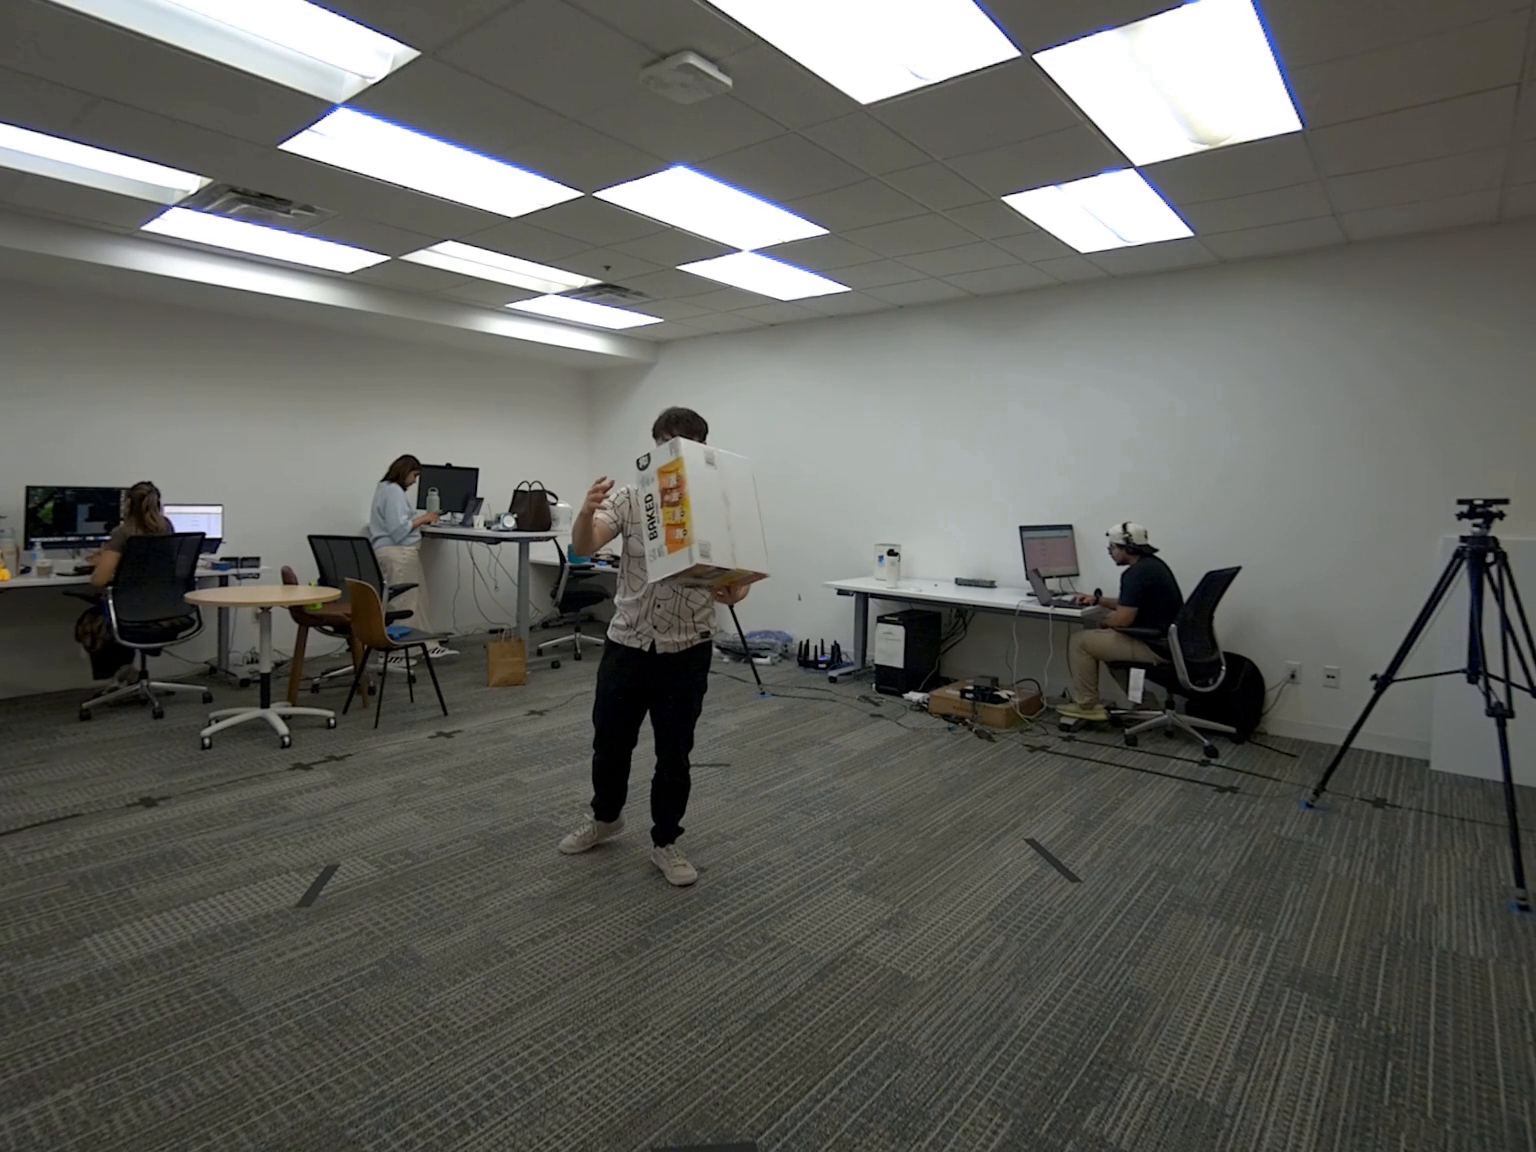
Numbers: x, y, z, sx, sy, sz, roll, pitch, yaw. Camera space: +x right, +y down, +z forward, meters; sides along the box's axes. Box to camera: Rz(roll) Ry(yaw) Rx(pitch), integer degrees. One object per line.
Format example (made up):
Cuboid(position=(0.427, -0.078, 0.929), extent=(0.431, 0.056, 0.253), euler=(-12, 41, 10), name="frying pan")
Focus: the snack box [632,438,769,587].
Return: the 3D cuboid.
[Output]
Cuboid(position=(-0.211, -0.185, 2.649), extent=(0.209, 0.413, 0.328), euler=(-23, -21, 37), name="snack box")
